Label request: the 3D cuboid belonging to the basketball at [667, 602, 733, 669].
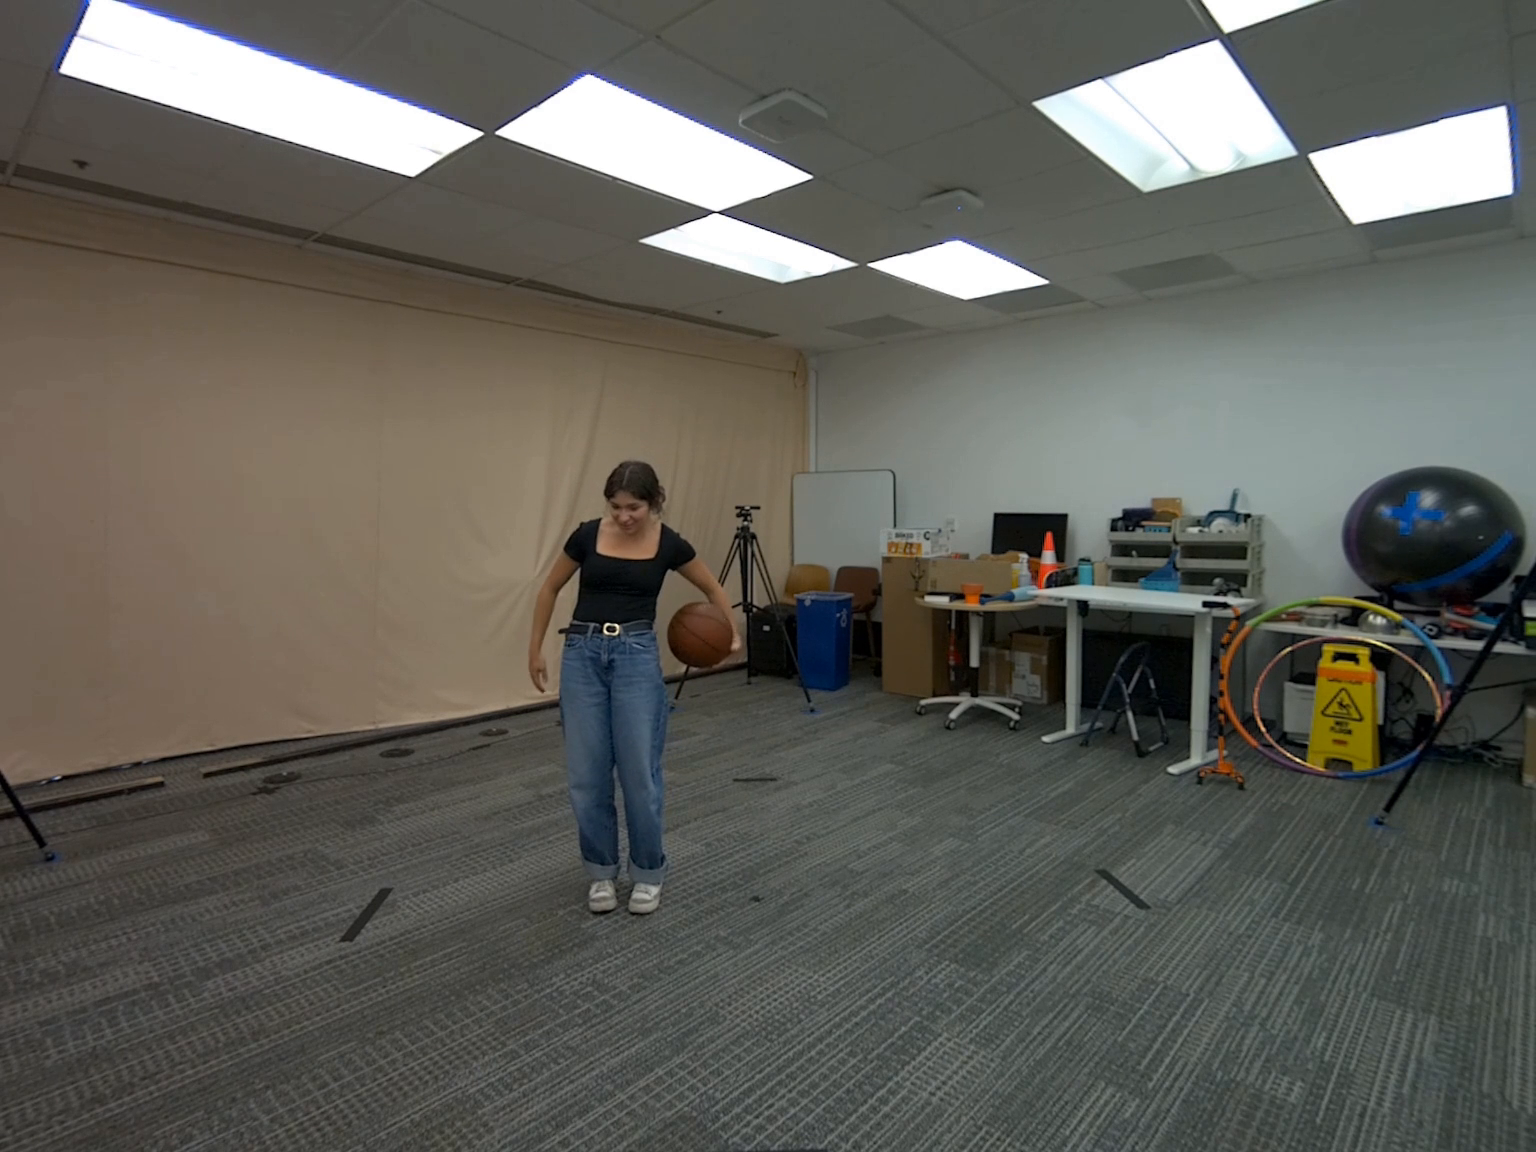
[{"bbox_3d":[-0.264,0.213,3.033,0.236,0.235,0.237,0,4,-2],"label":"basketball"}]
